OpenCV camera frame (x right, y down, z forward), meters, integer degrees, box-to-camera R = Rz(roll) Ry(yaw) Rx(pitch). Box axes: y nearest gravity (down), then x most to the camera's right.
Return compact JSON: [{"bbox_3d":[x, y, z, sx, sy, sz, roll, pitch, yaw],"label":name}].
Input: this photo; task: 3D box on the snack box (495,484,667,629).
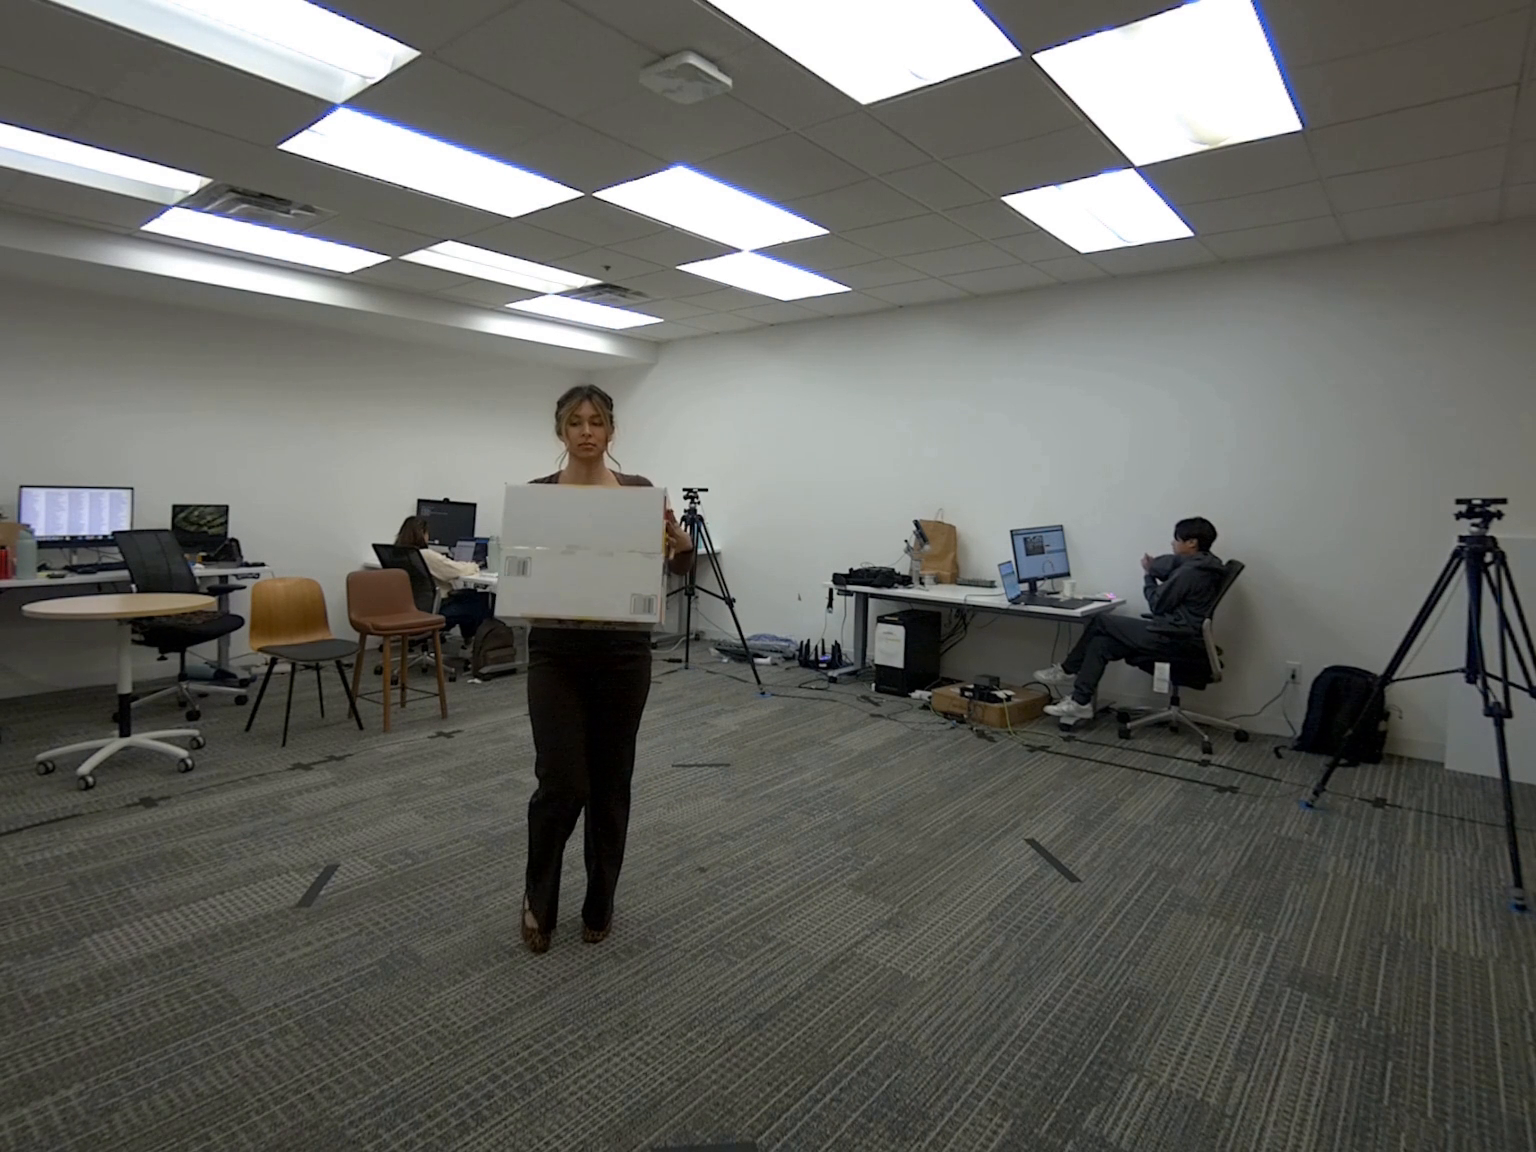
[{"bbox_3d":[-0.466,-0.046,2.164,0.405,0.344,0.203,1,-12,0],"label":"snack box"}]
